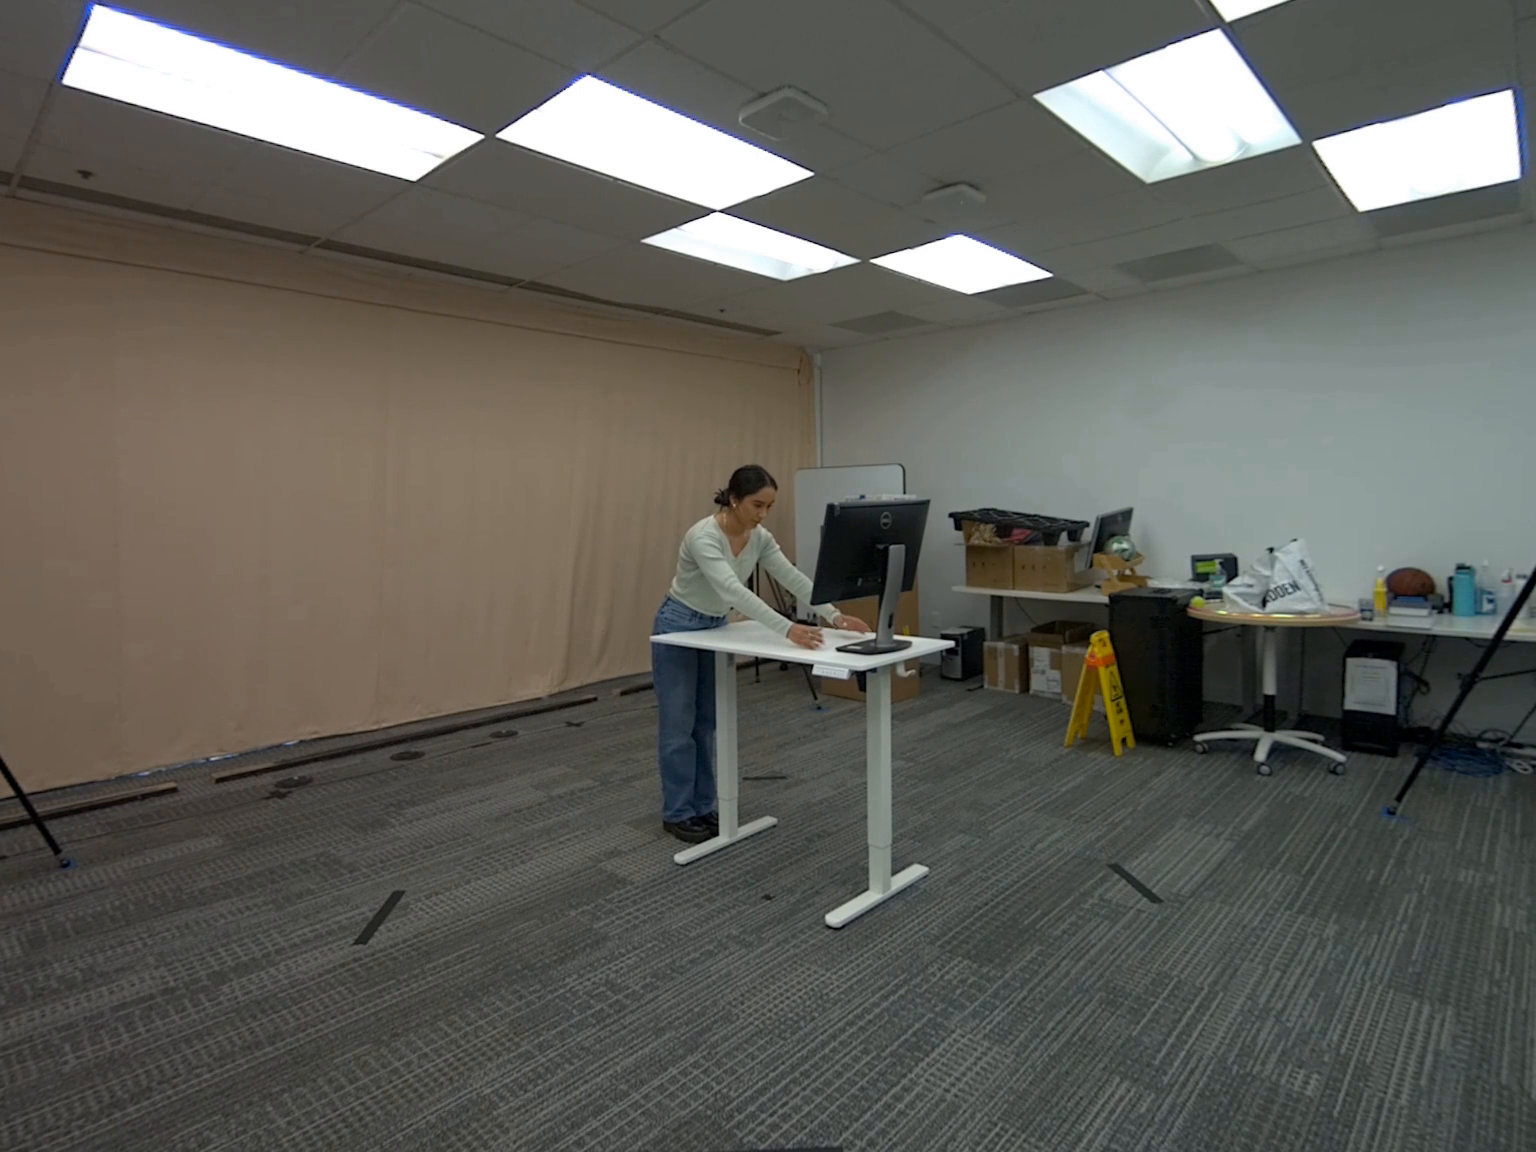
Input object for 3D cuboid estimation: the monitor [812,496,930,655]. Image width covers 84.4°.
[{"bbox_3d":[0.401,0.002,2.915,0.523,0.521,0.193,-6,8,-44],"label":"monitor"}]
